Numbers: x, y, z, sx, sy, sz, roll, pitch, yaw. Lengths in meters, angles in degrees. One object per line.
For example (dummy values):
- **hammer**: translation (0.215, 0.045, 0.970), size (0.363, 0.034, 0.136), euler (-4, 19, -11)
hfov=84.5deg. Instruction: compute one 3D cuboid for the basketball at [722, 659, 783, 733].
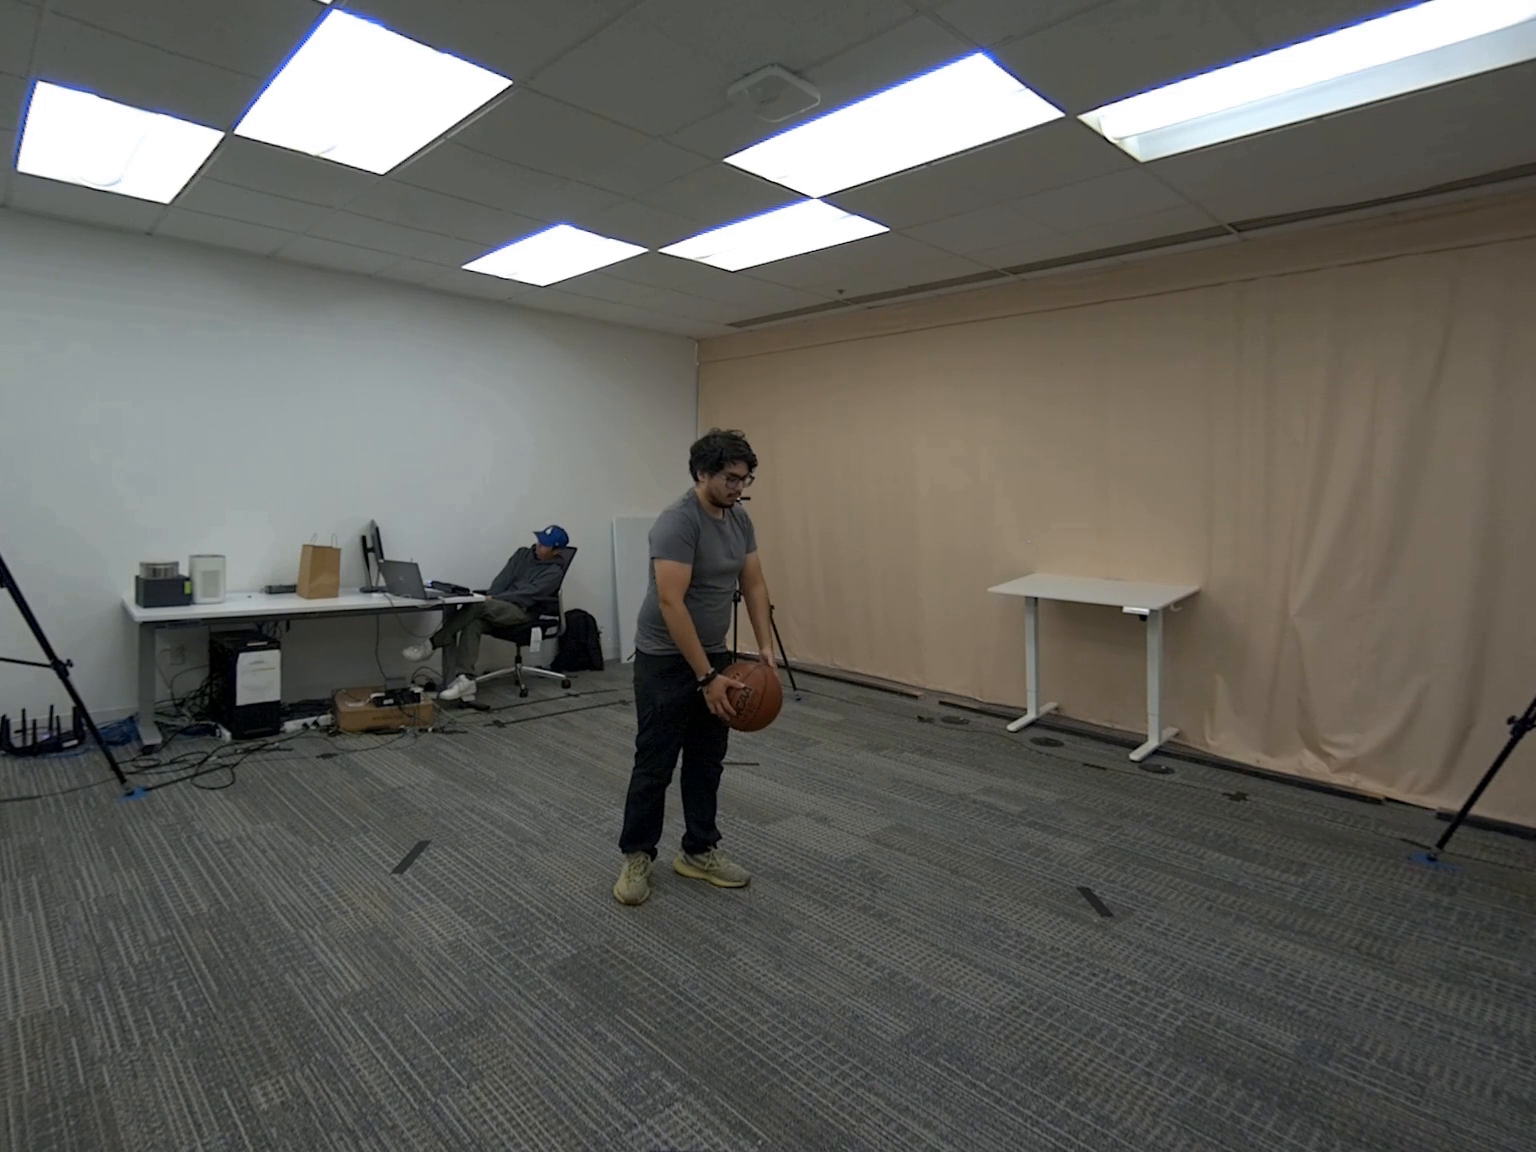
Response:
- **basketball**: translation (-0.080, 0.401, 2.844), size (0.236, 0.235, 0.237), euler (1, 4, -1)
